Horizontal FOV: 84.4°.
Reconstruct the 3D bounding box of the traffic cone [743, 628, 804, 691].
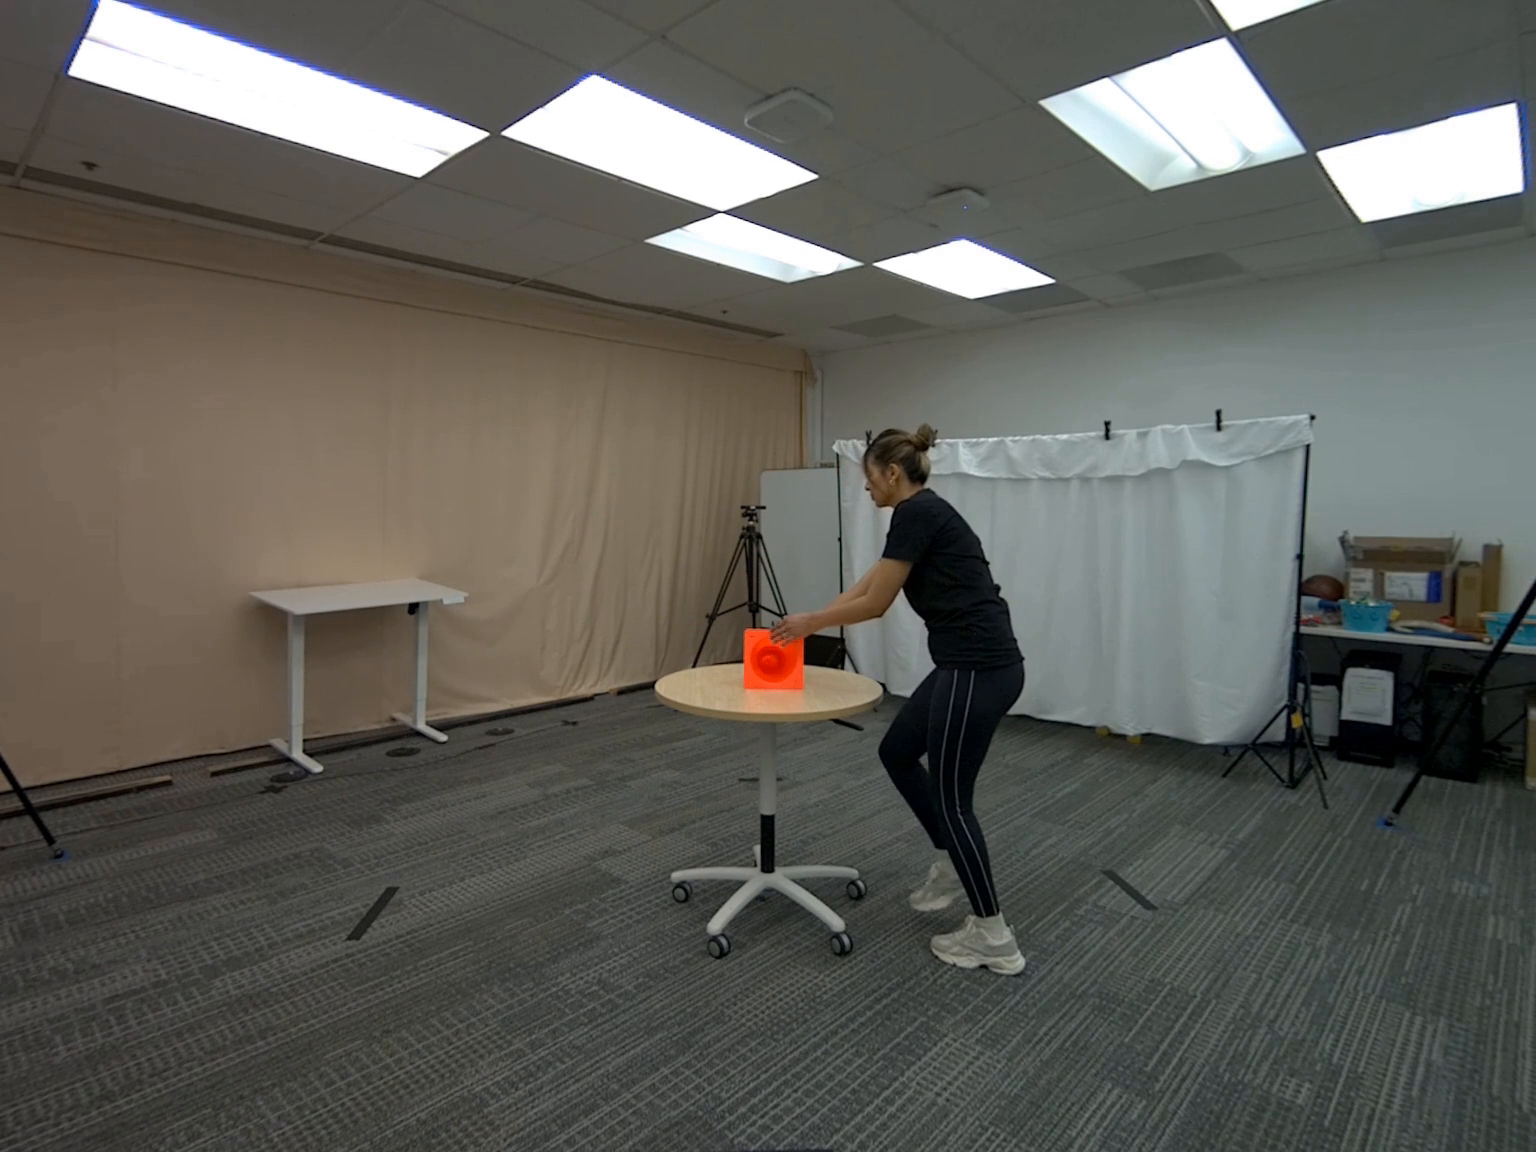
[{"bbox_3d":[0.013,0.301,2.987,0.203,0.206,0.383,-4,-6,-4],"label":"traffic cone"}]
